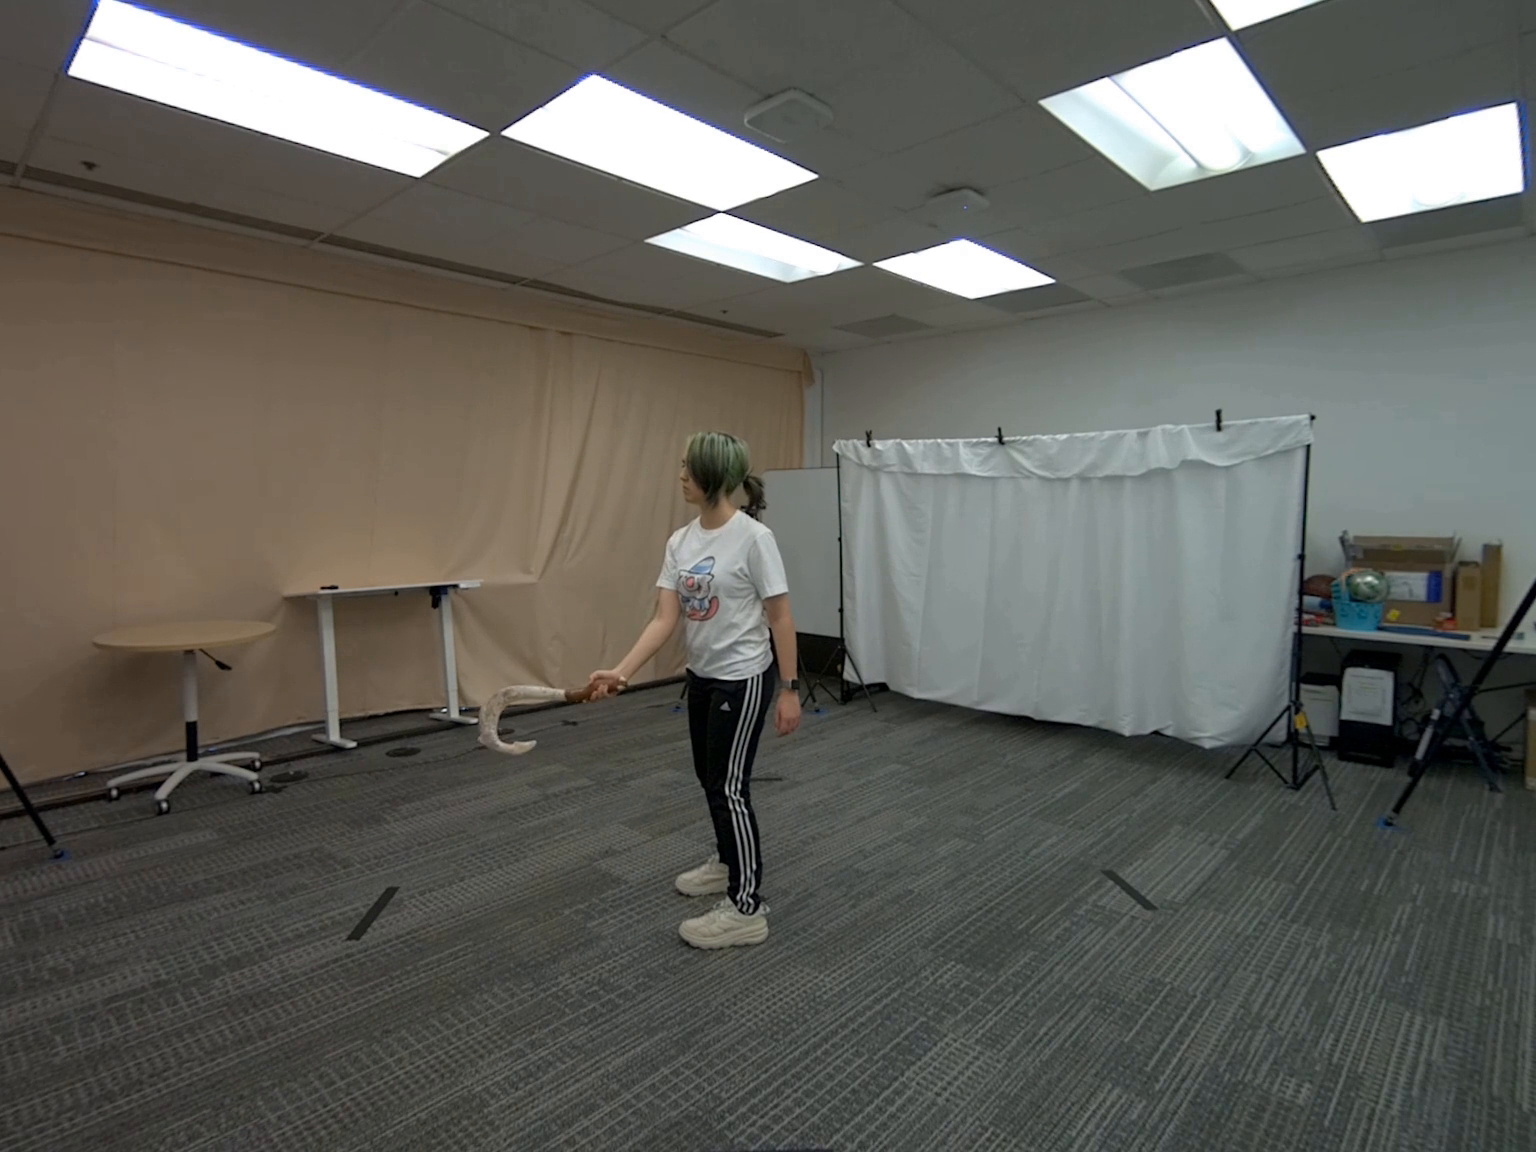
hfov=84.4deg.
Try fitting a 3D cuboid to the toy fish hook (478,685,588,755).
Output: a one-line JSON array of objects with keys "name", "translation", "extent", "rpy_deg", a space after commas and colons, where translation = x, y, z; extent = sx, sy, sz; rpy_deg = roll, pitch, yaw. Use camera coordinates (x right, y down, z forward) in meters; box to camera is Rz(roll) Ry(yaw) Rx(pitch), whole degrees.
[{"name": "toy fish hook", "translation": [-0.686, 0.410, 2.665], "extent": [0.512, 0.228, 0.047], "rpy_deg": [-11, -23, 11]}]
